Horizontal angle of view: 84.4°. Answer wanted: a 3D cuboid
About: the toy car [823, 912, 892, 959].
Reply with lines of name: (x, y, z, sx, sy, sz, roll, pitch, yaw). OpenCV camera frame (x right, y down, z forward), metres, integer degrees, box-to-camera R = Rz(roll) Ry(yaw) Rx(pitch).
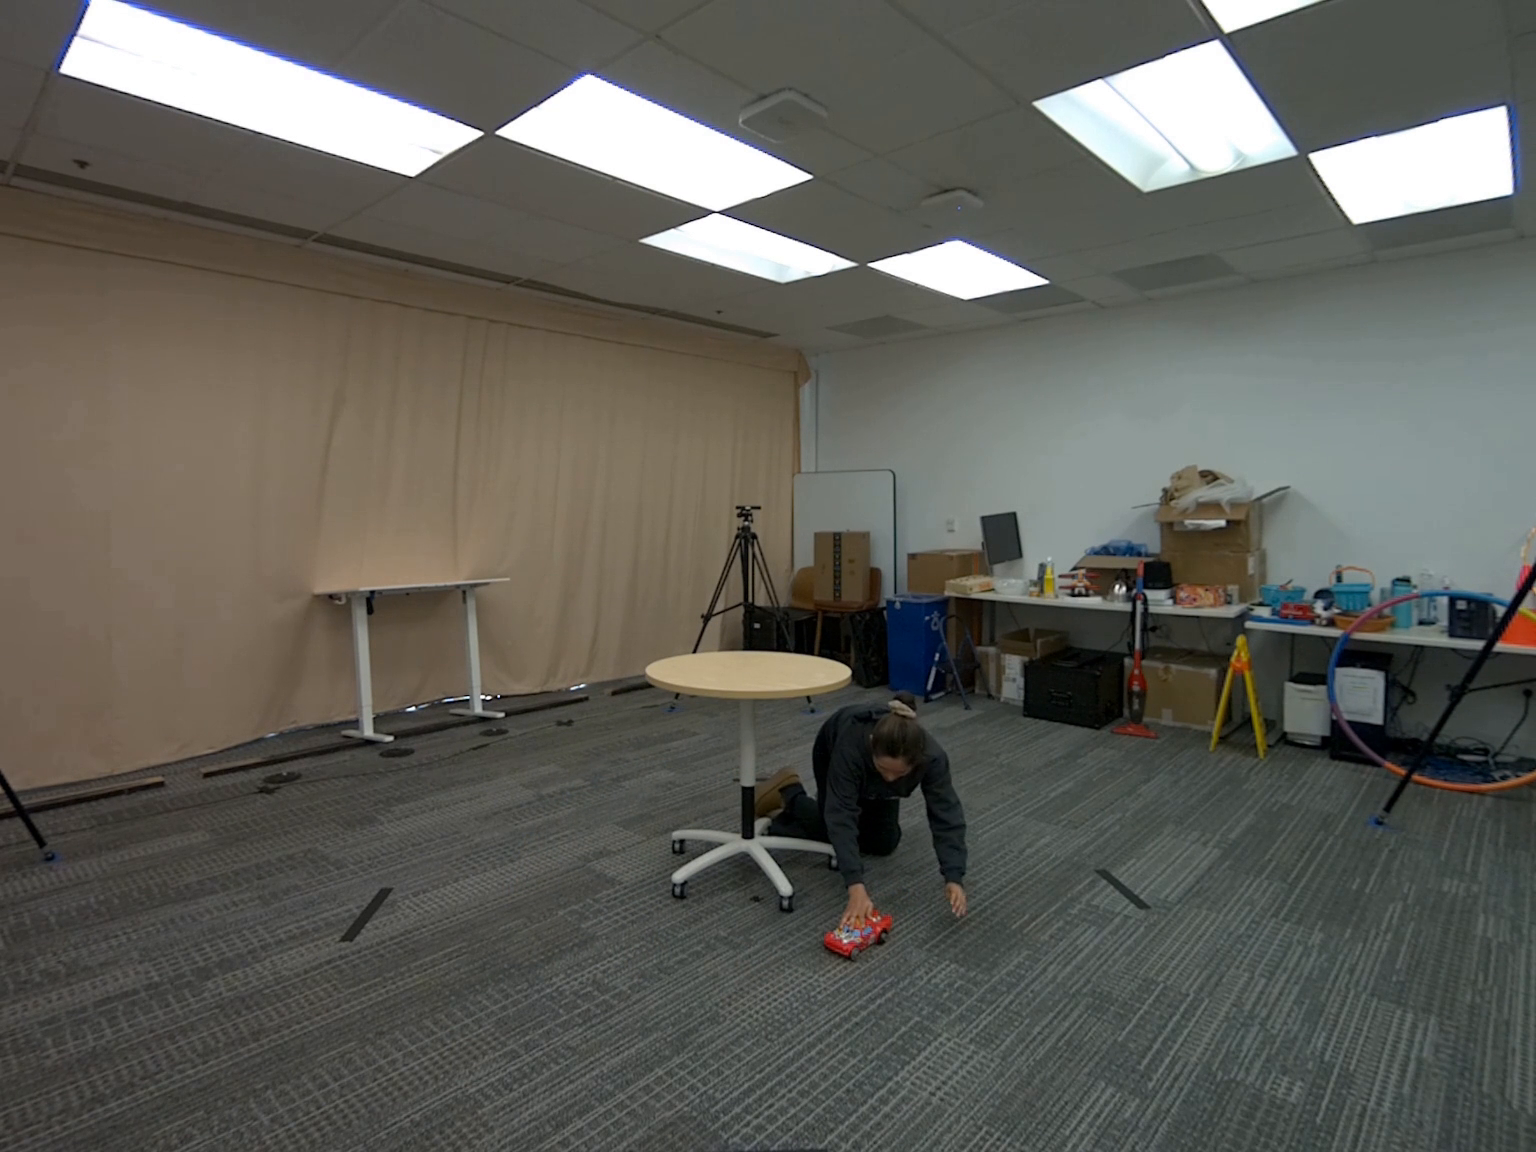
toy car: (0.315, 1.128, 2.674, 0.248, 0.082, 0.134, -20, 15, -40)
